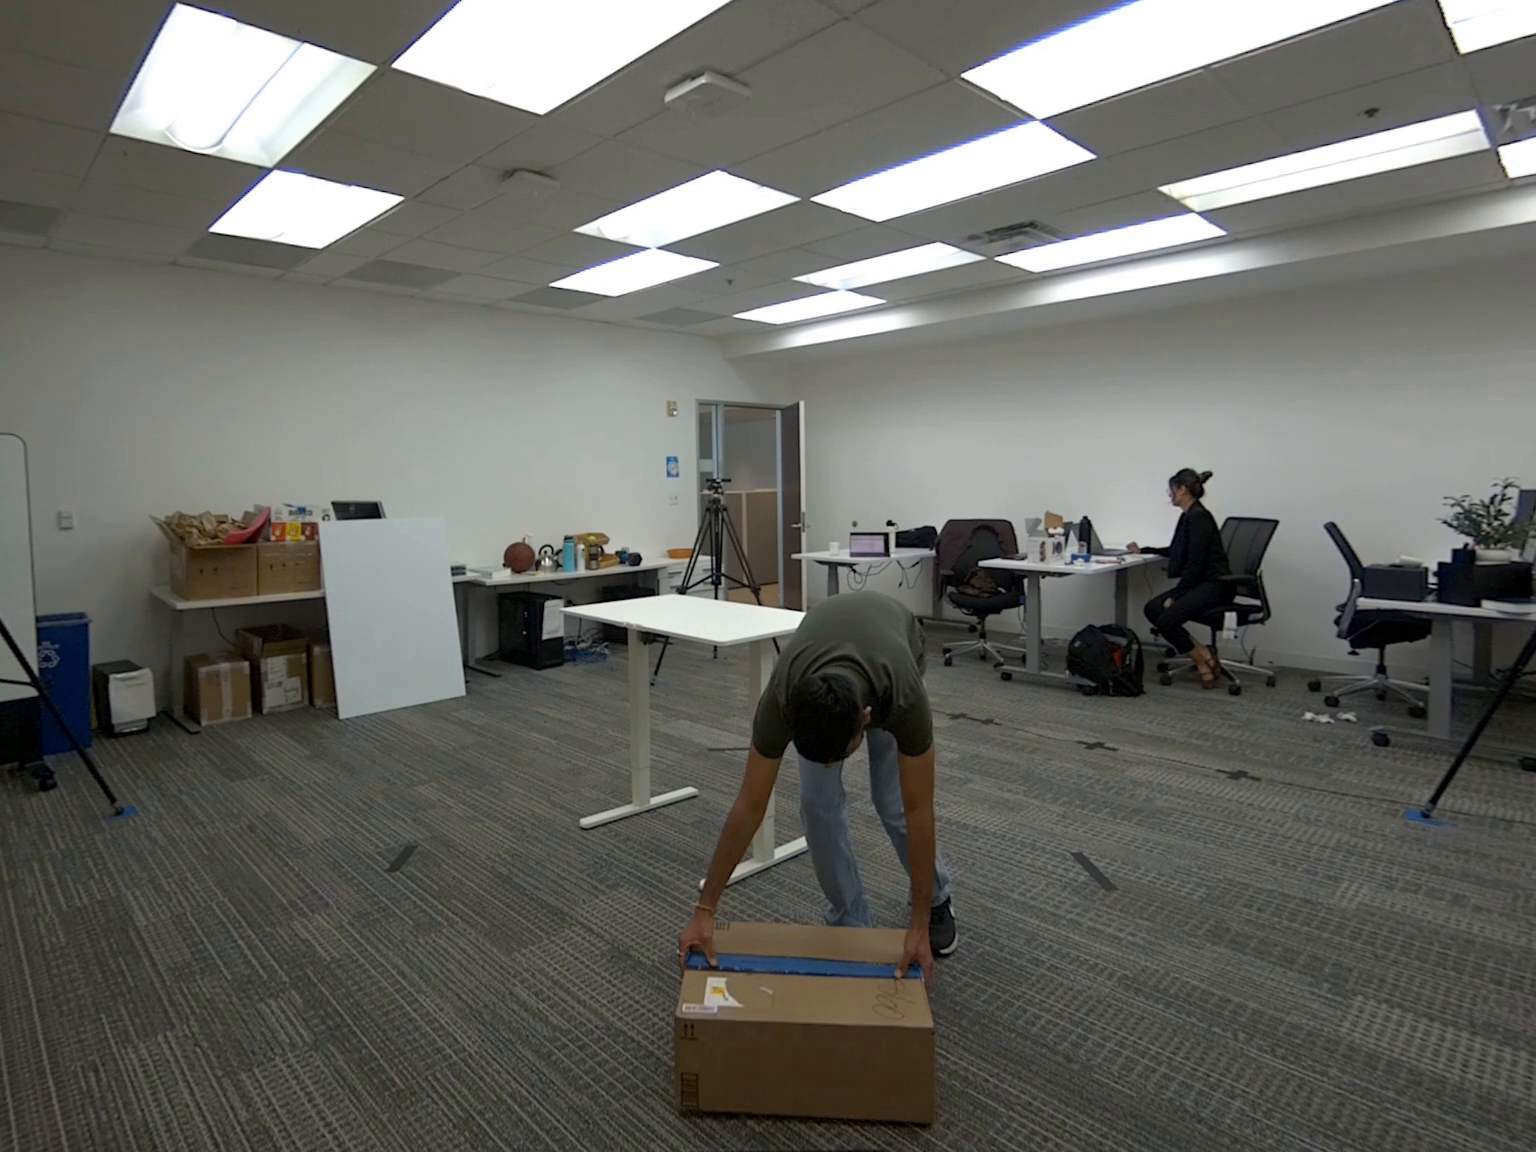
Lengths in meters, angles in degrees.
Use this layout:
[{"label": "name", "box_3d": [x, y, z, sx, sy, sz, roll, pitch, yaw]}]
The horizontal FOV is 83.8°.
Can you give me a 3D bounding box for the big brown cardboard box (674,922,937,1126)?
[{"label": "big brown cardboard box", "box_3d": [0.083, 1.028, 2.057, 0.591, 0.232, 0.417, 1, 4, 3]}]
